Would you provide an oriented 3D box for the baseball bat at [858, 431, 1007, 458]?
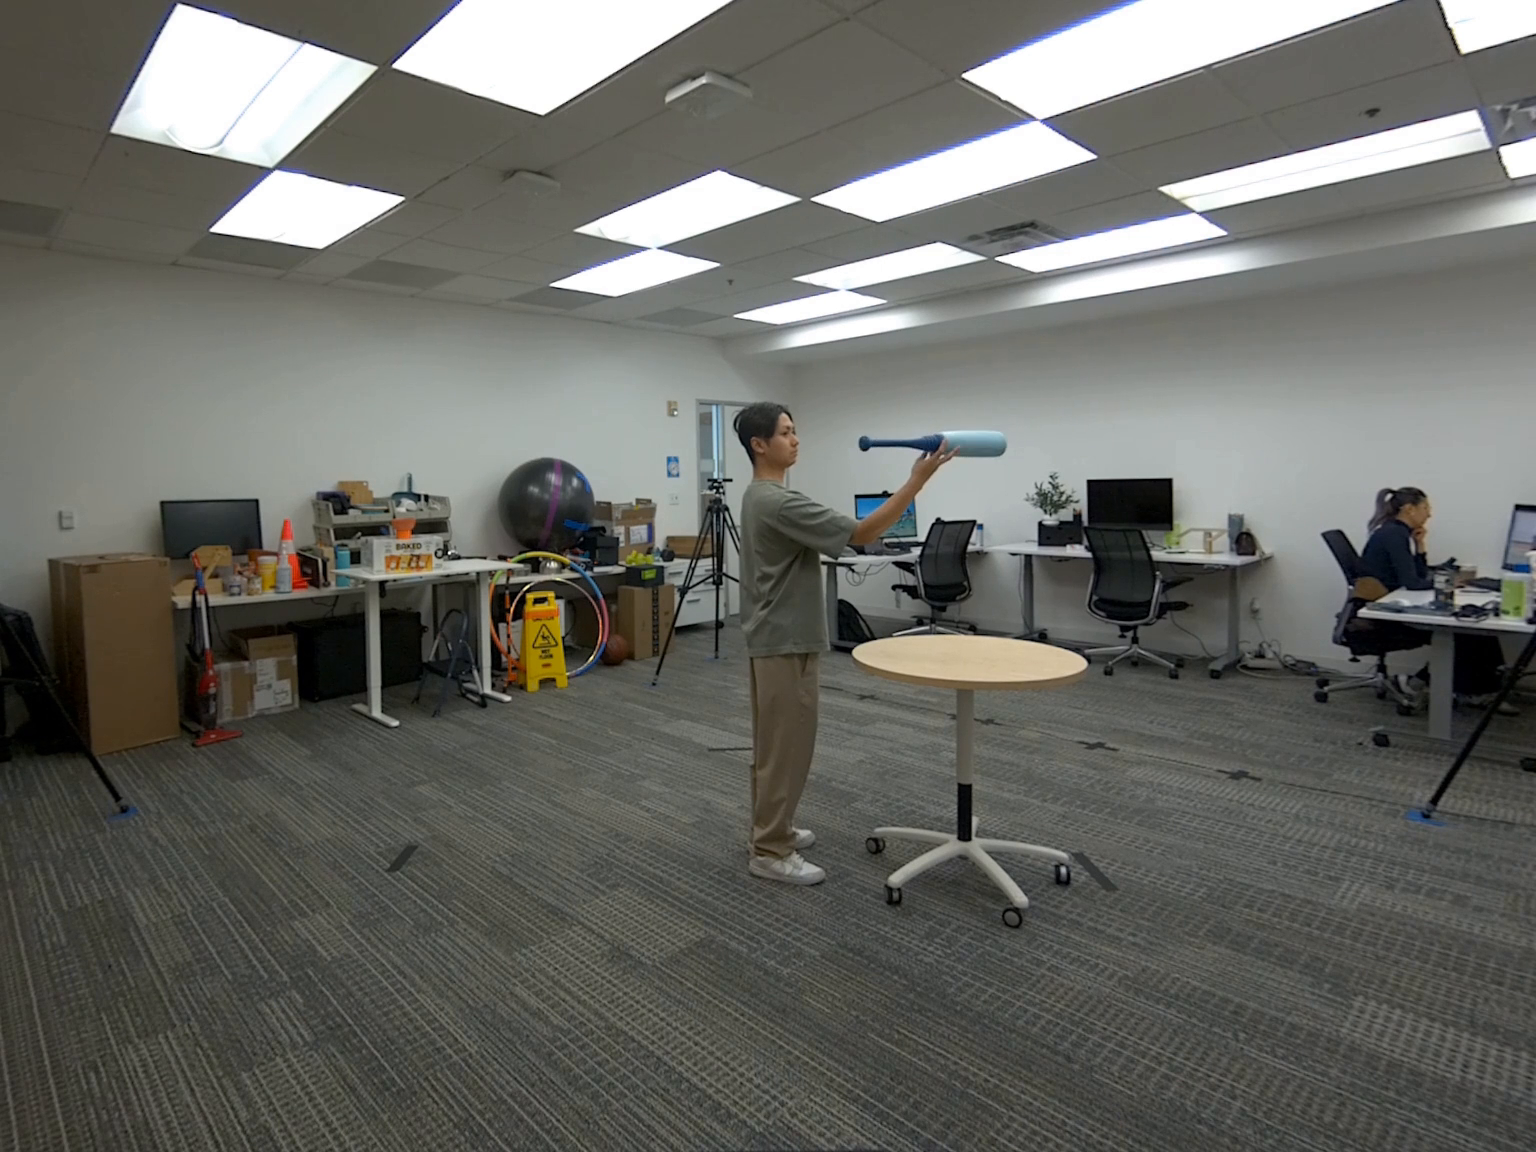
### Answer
[{"bbox_3d":[0.541,-0.427,2.771,0.533,0.089,0.091,-4,5,-22],"label":"baseball bat"}]
